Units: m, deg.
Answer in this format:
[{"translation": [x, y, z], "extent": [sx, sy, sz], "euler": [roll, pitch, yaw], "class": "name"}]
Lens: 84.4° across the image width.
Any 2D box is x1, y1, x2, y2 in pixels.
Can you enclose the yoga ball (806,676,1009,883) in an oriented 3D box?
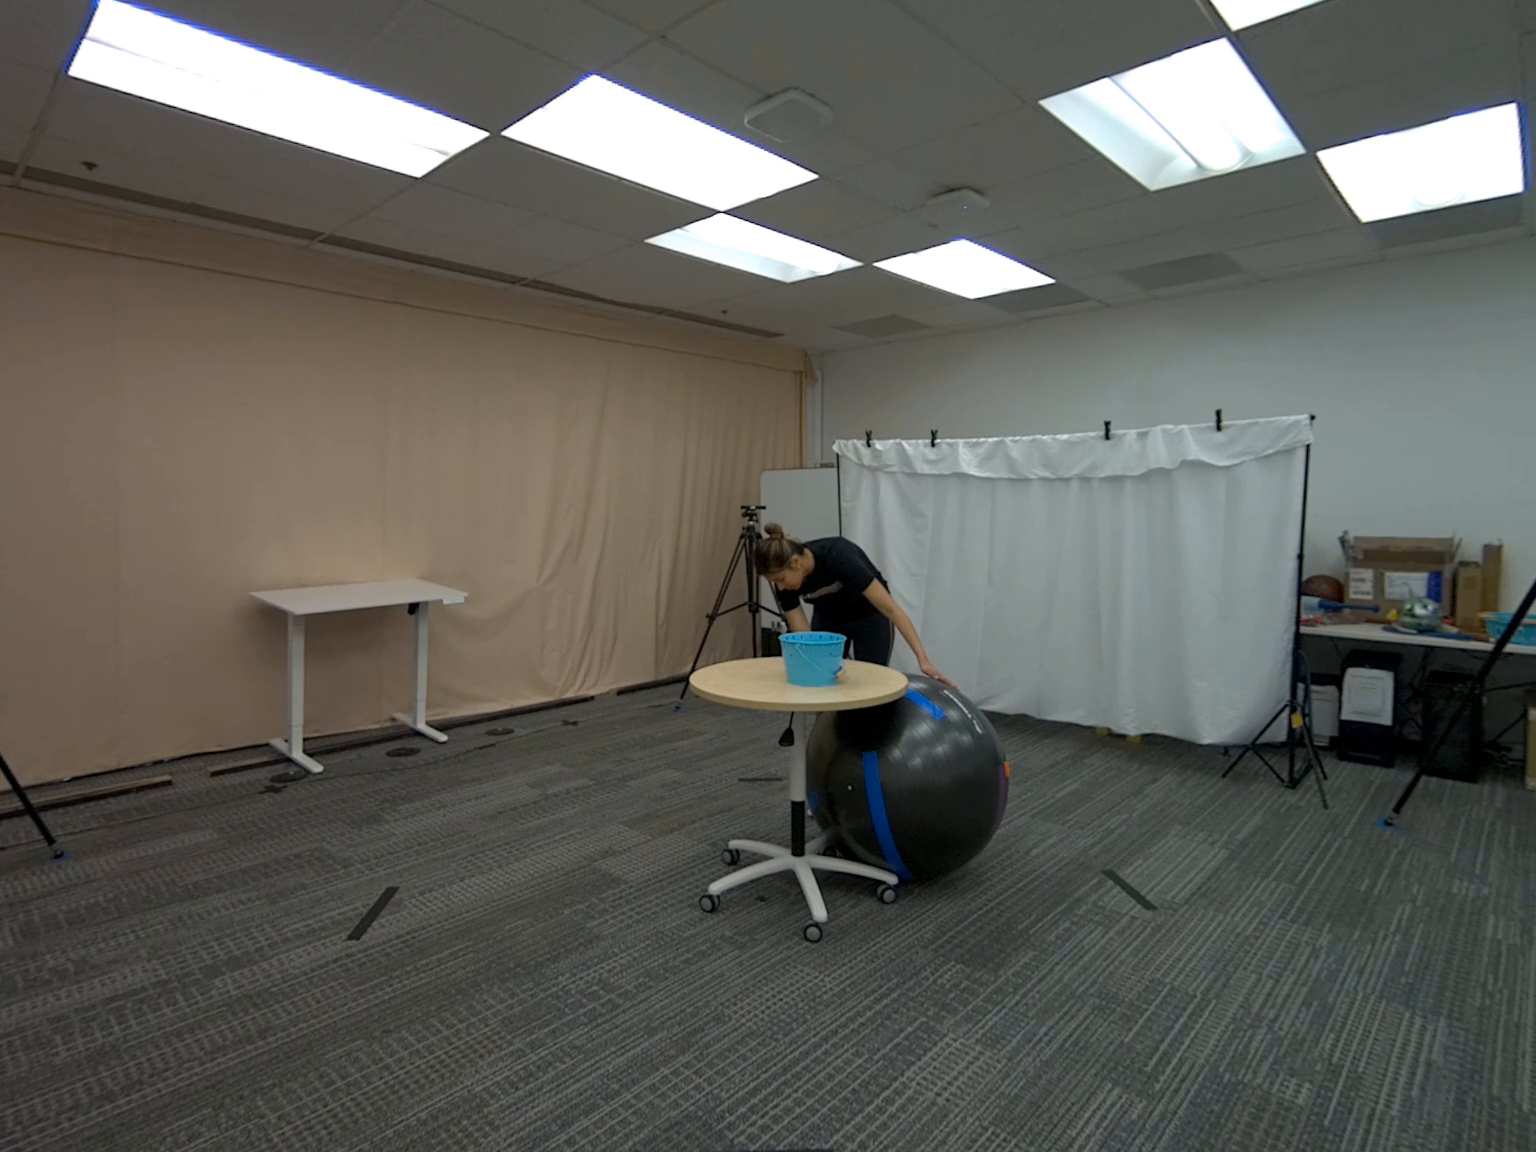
[{"translation": [0.530, 0.763, 3.199], "extent": [0.757, 0.756, 0.761], "euler": [0, 4, -2], "class": "yoga ball"}]
